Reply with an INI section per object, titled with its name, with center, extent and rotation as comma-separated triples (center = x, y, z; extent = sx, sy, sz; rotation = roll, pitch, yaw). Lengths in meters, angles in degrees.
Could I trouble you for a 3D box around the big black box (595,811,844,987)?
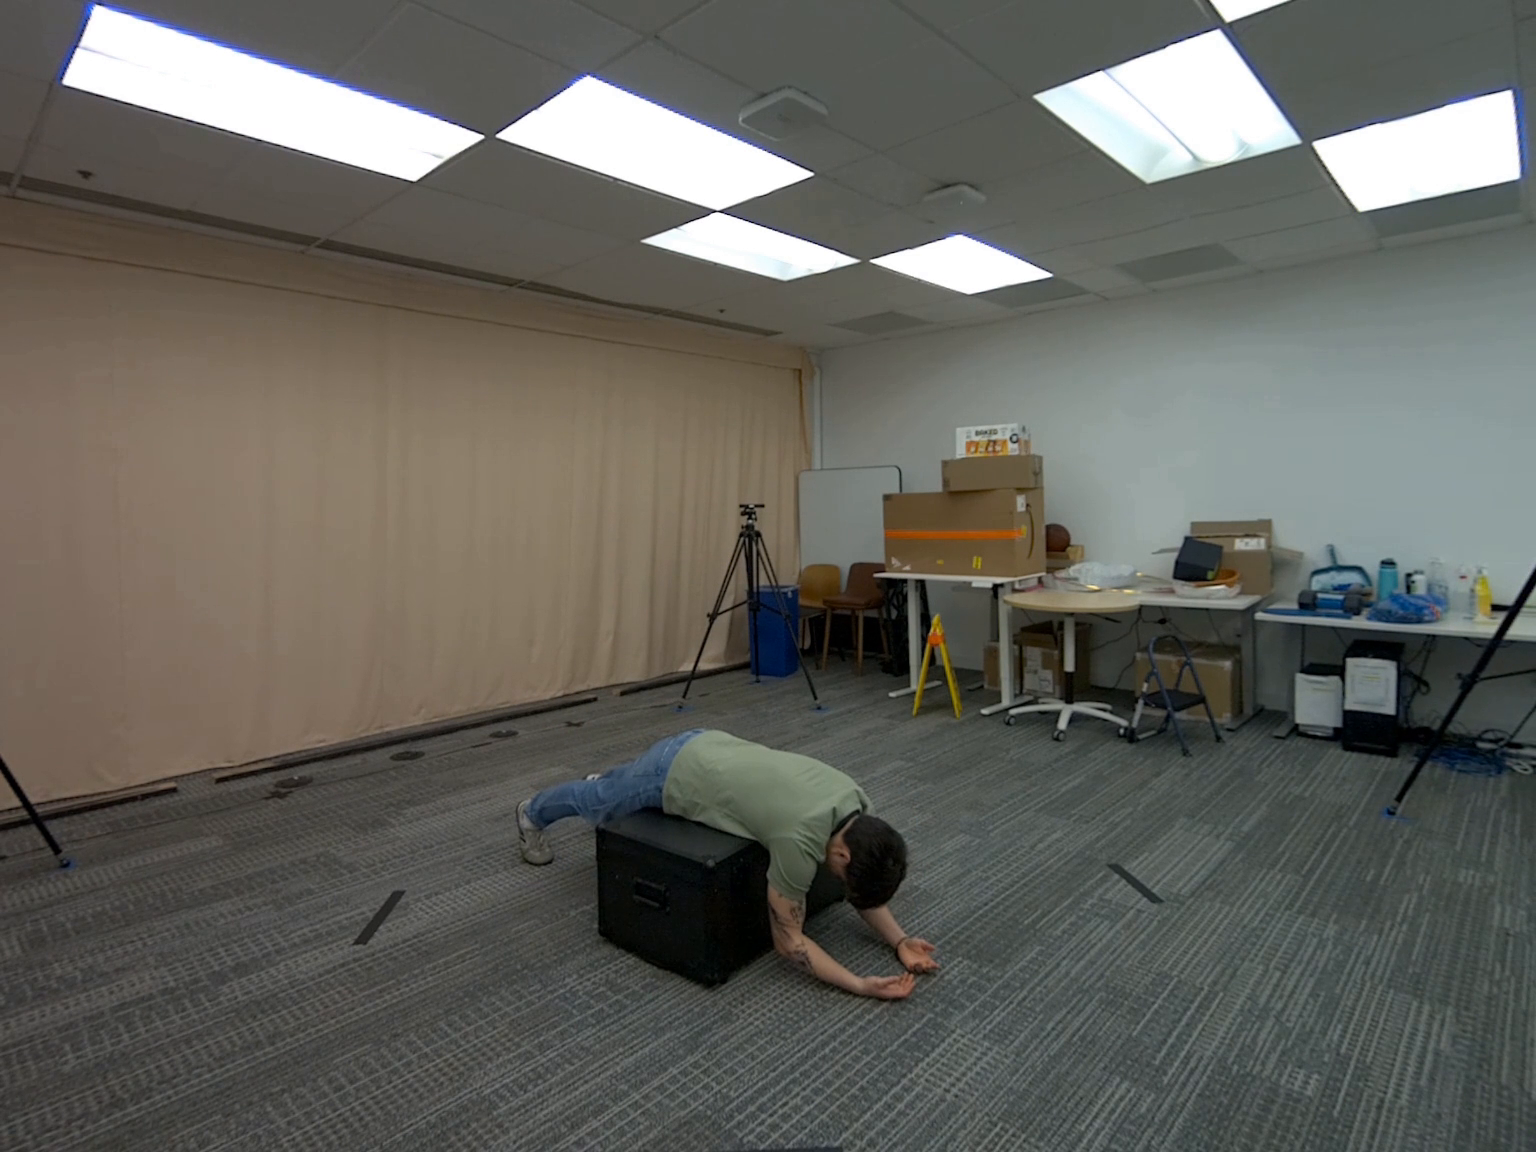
[big black box]
center = -0.097, 0.971, 2.863
extent = 0.538, 0.395, 0.837
rotation = 3, 8, 37
